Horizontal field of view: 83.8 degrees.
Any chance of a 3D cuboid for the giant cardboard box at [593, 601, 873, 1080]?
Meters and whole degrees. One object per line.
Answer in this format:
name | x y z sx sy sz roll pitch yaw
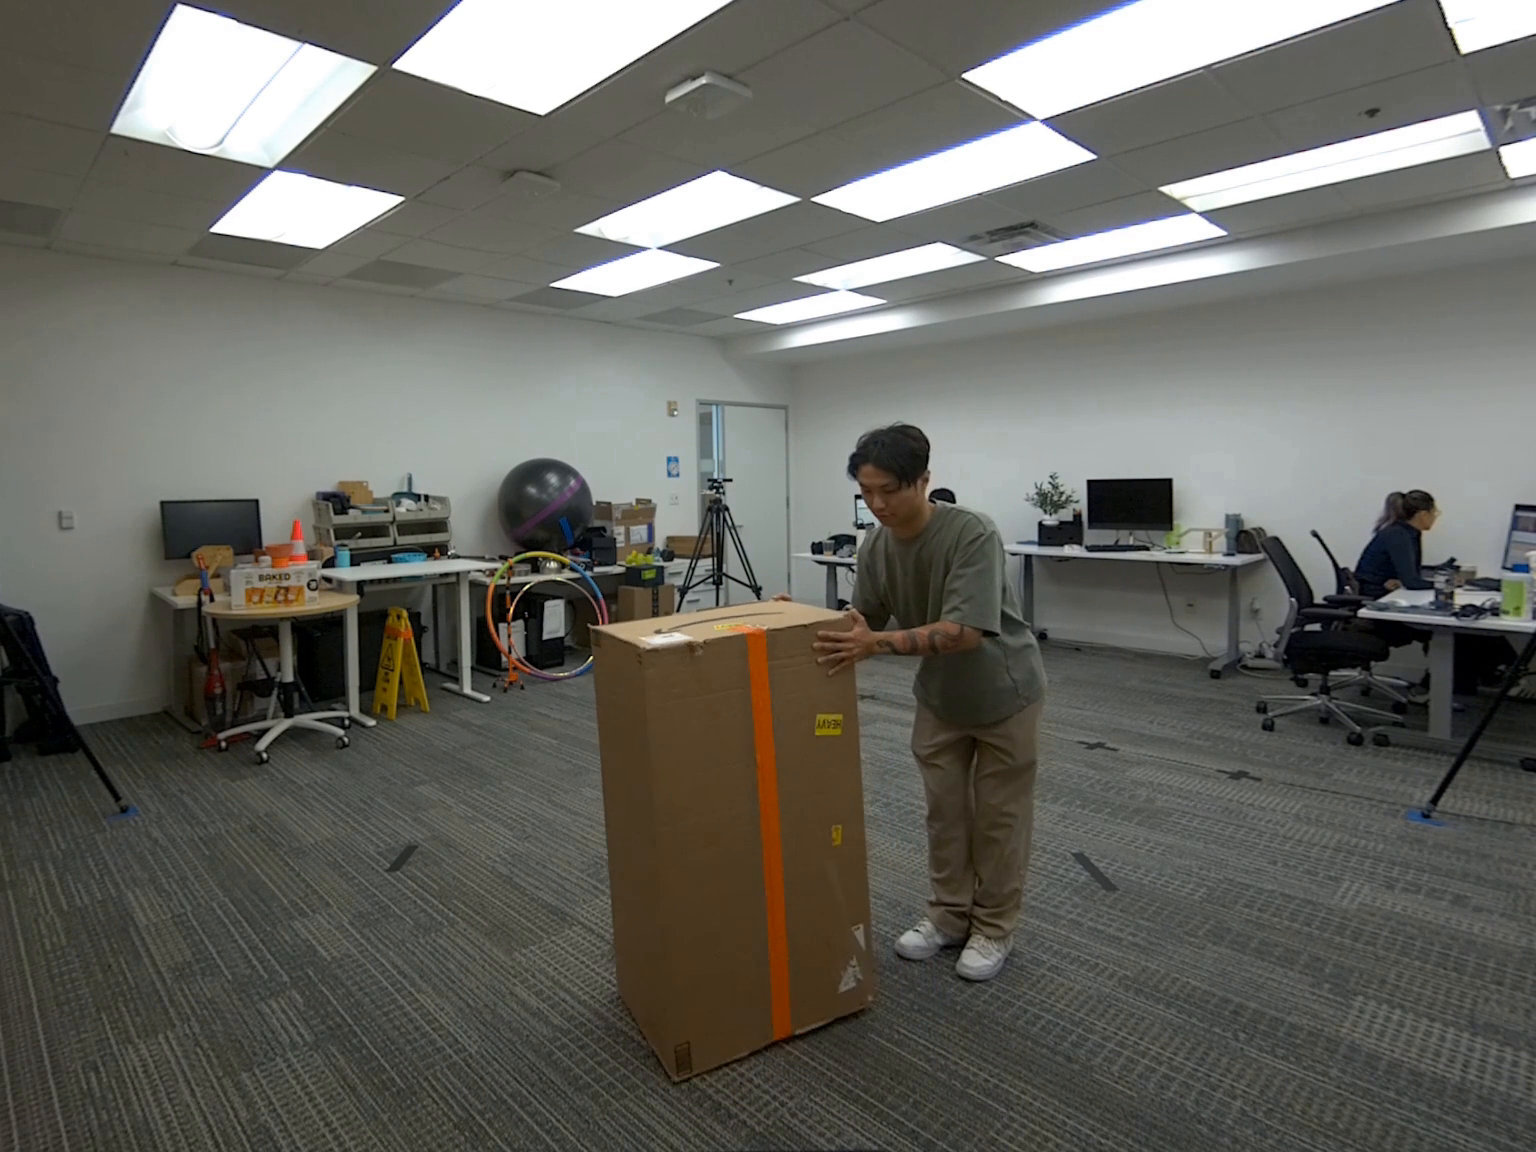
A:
giant cardboard box | -0.098 0.626 2.265 0.565 1.022 0.437 -6 4 -27
